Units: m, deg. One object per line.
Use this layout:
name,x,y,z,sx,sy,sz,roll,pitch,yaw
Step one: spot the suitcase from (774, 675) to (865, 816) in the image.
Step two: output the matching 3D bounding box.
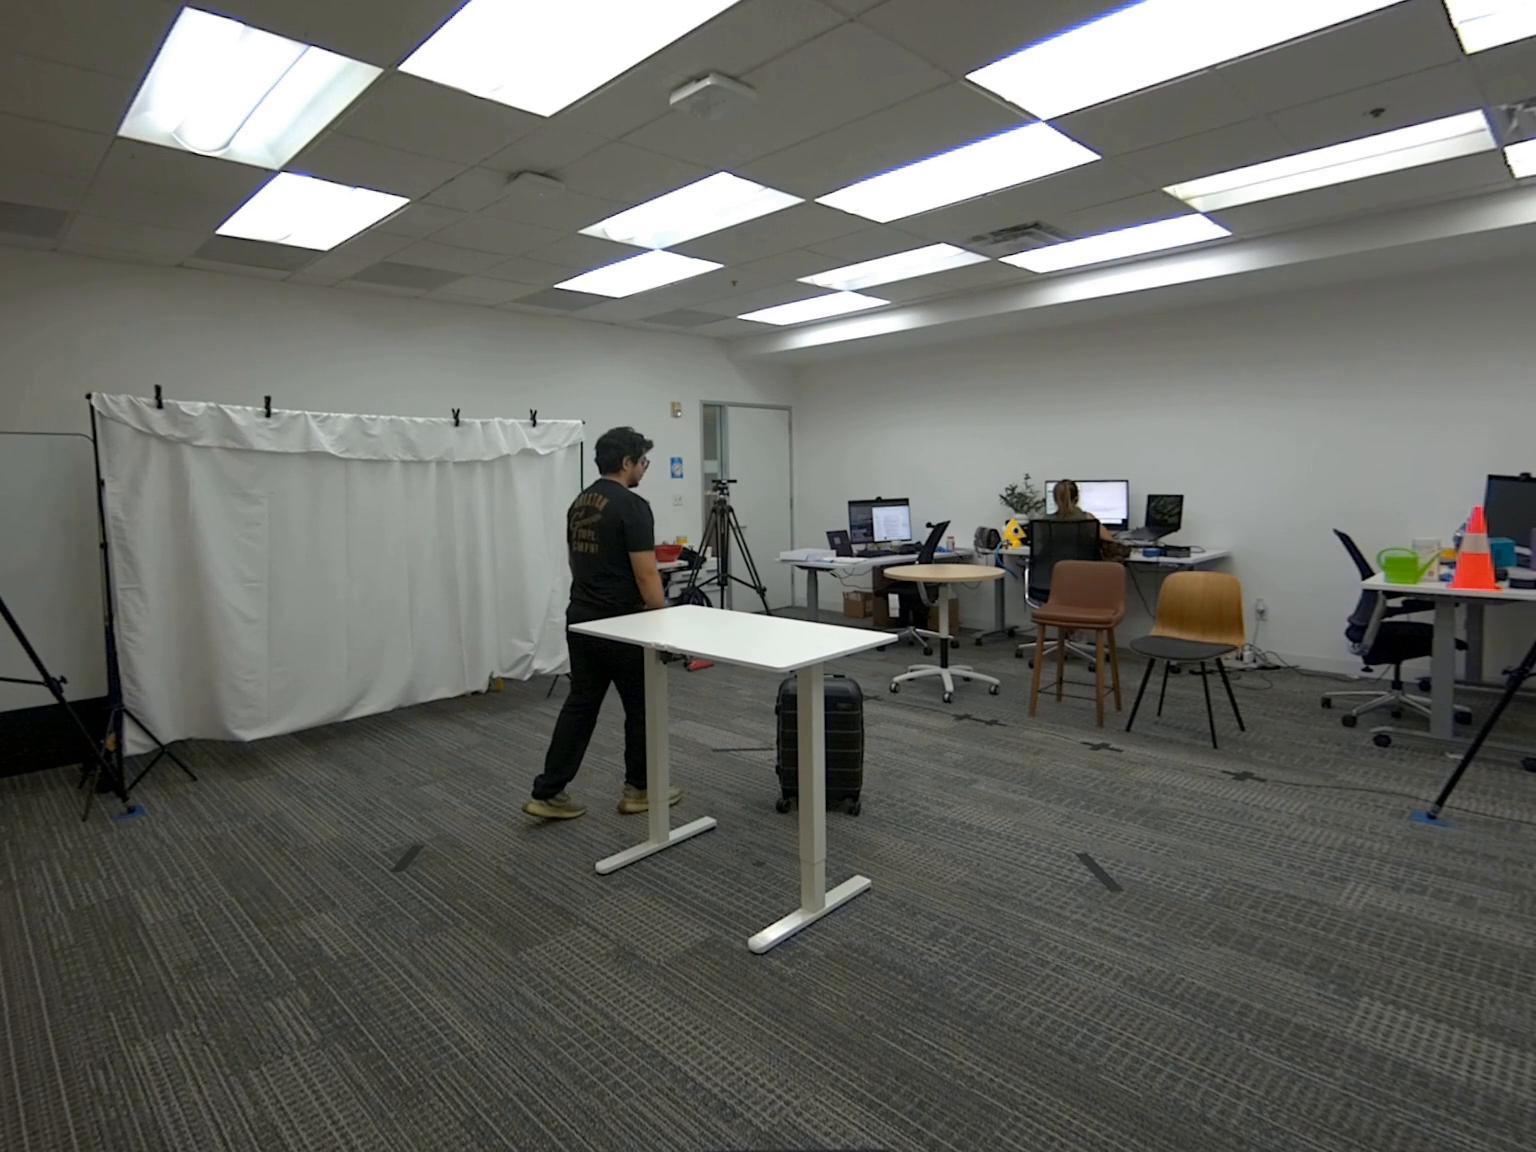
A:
suitcase,0.231,0.709,3.677,0.377,0.549,0.247,0,1,4
